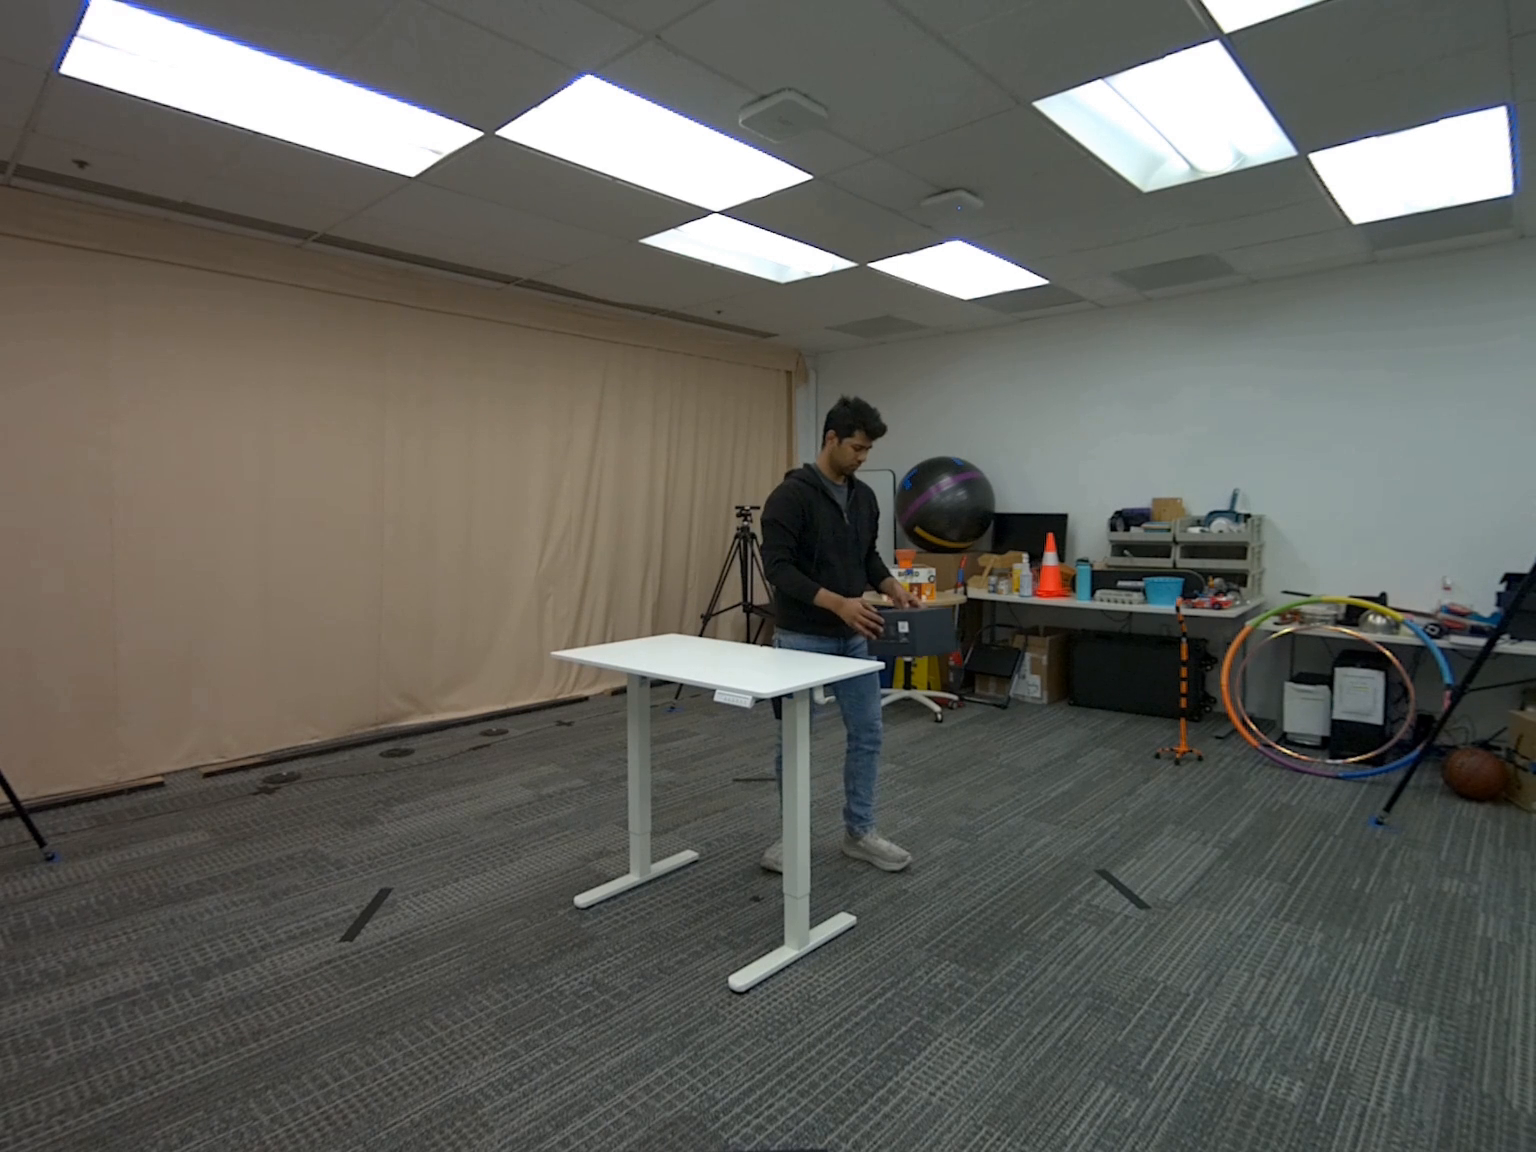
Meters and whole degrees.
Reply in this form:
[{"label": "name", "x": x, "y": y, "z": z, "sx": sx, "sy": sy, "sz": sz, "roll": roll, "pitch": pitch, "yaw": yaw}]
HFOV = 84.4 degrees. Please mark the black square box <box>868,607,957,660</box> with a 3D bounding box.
[{"label": "black square box", "x": 0.502, "y": 0.211, "z": 2.957, "sx": 0.221, "sy": 0.156, "sz": 0.223, "roll": -3, "pitch": -1, "yaw": -40}]
